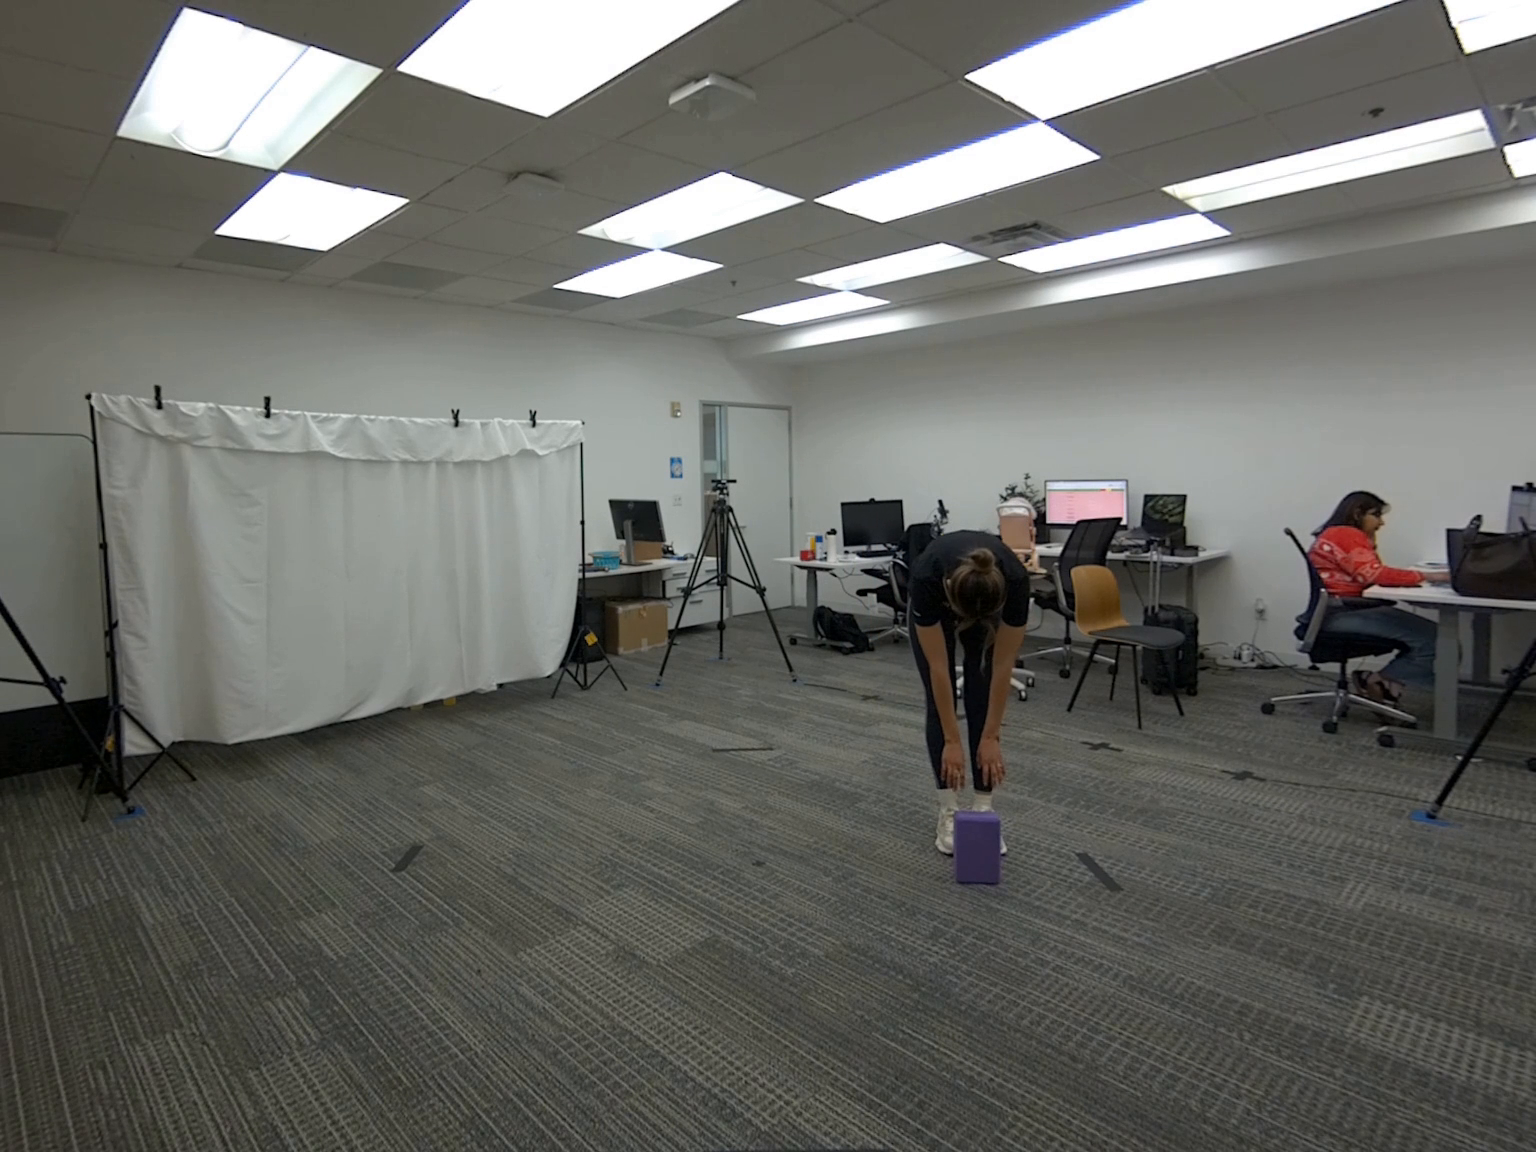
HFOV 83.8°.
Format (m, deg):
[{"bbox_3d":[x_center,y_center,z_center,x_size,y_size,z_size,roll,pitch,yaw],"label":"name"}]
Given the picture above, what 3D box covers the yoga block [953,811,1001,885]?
[{"bbox_3d":[0.724,0.937,2.944,0.149,0.228,0.076,-1,4,3],"label":"yoga block"}]
